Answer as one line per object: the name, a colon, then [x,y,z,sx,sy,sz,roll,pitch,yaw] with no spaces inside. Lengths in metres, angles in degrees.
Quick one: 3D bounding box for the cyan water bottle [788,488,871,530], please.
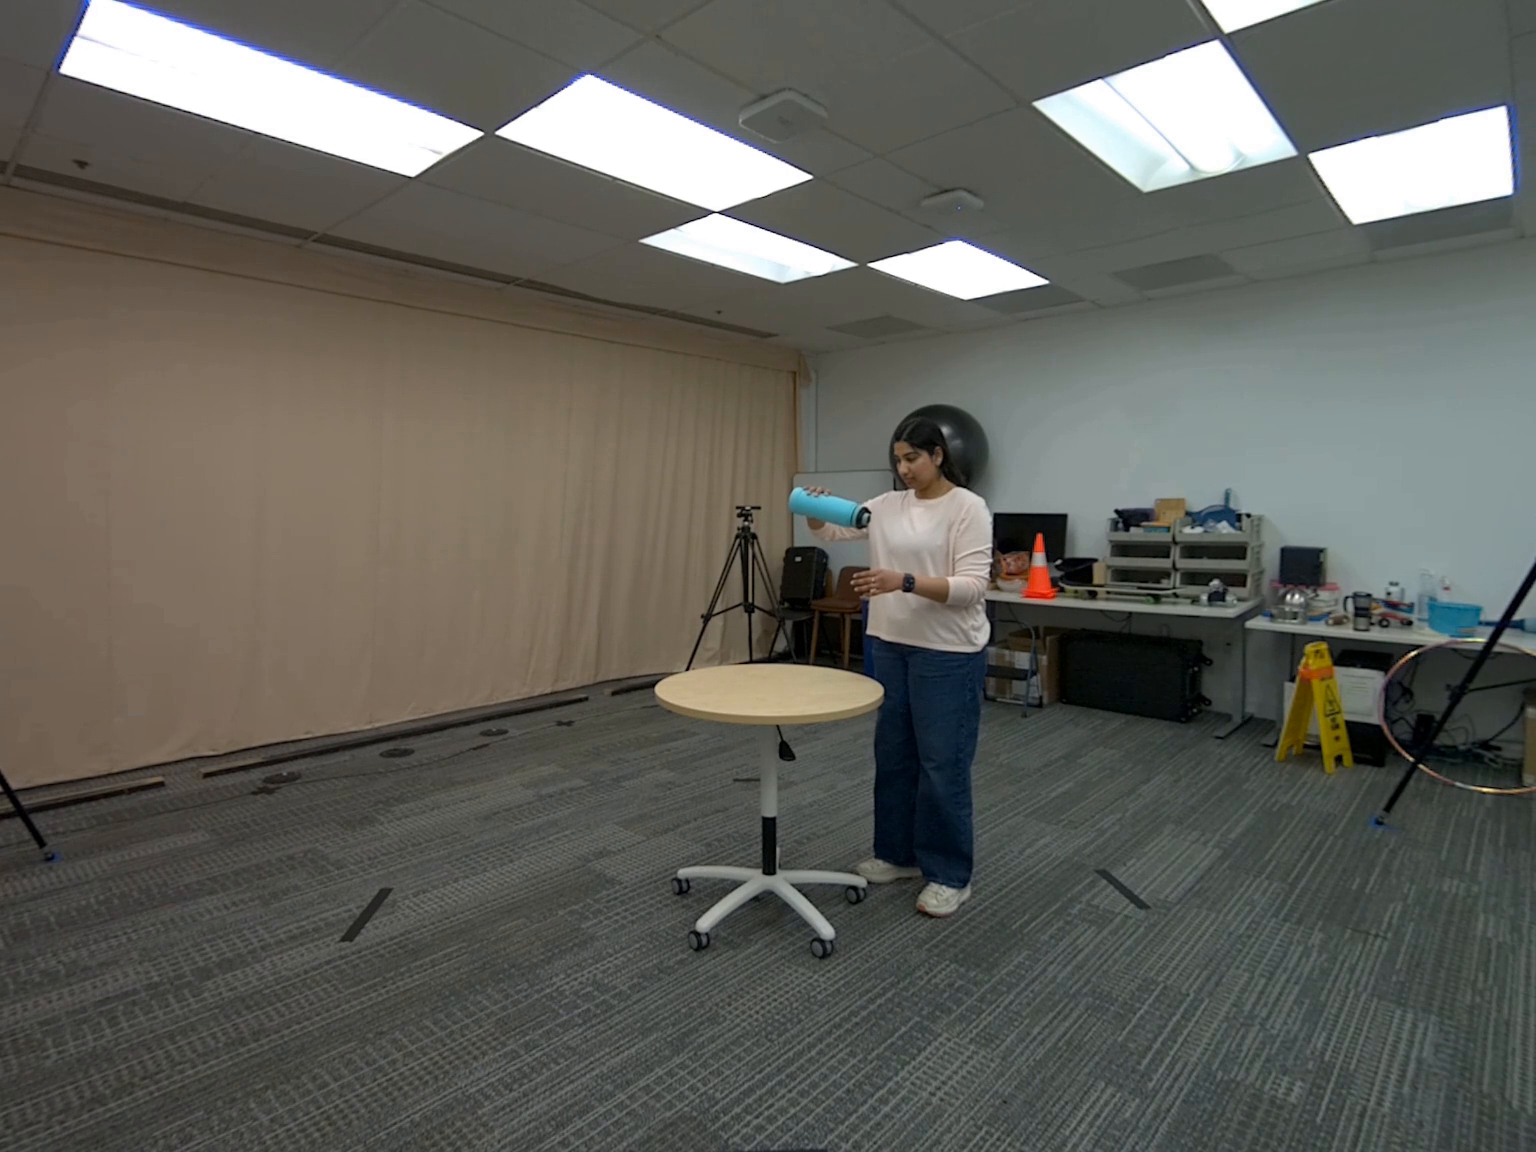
cyan water bottle: [0.219,-0.220,2.830,0.292,0.092,0.090,17,11,26]
